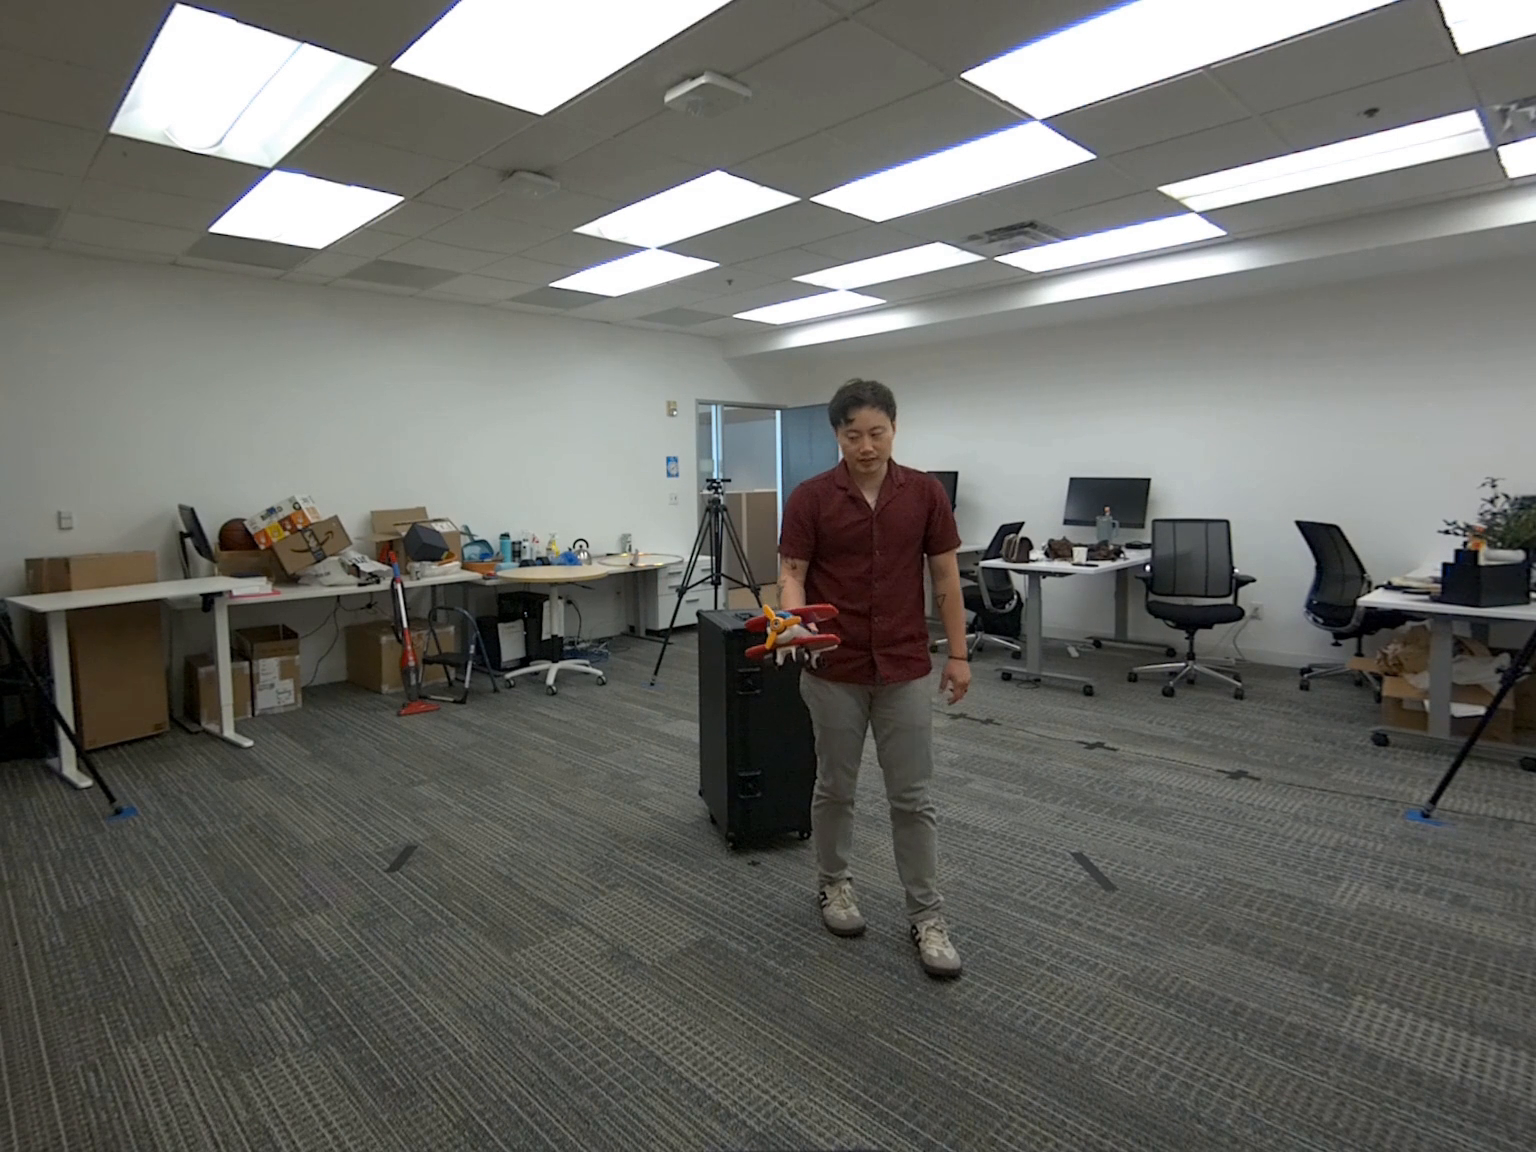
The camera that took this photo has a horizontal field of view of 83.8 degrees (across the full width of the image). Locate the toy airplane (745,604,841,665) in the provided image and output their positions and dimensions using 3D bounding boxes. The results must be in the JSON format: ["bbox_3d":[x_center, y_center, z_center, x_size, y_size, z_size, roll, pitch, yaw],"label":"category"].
[{"bbox_3d":[0.067,0.174,2.244,0.250,0.158,0.257,-9,-10,-3],"label":"toy airplane"}]
